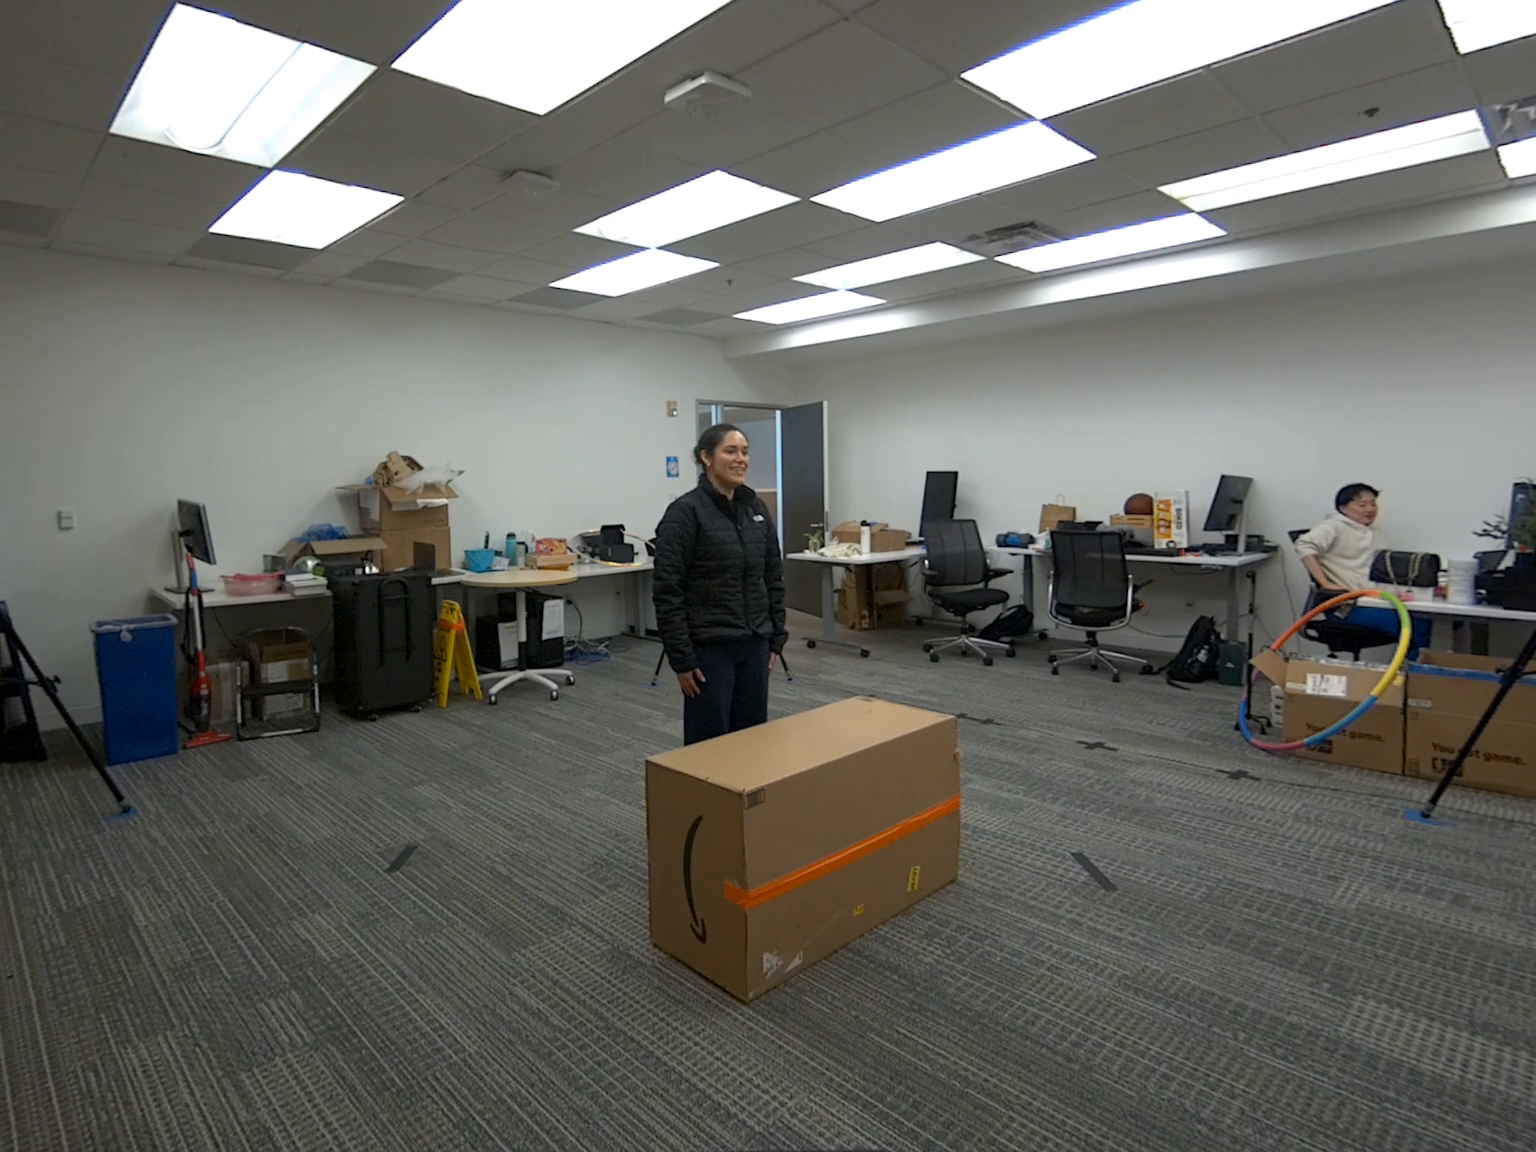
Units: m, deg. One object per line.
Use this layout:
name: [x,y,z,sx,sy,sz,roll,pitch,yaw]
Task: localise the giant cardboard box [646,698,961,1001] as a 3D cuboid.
giant cardboard box: [0.150,0.794,2.757,1.000,0.582,0.460,-7,6,-43]
